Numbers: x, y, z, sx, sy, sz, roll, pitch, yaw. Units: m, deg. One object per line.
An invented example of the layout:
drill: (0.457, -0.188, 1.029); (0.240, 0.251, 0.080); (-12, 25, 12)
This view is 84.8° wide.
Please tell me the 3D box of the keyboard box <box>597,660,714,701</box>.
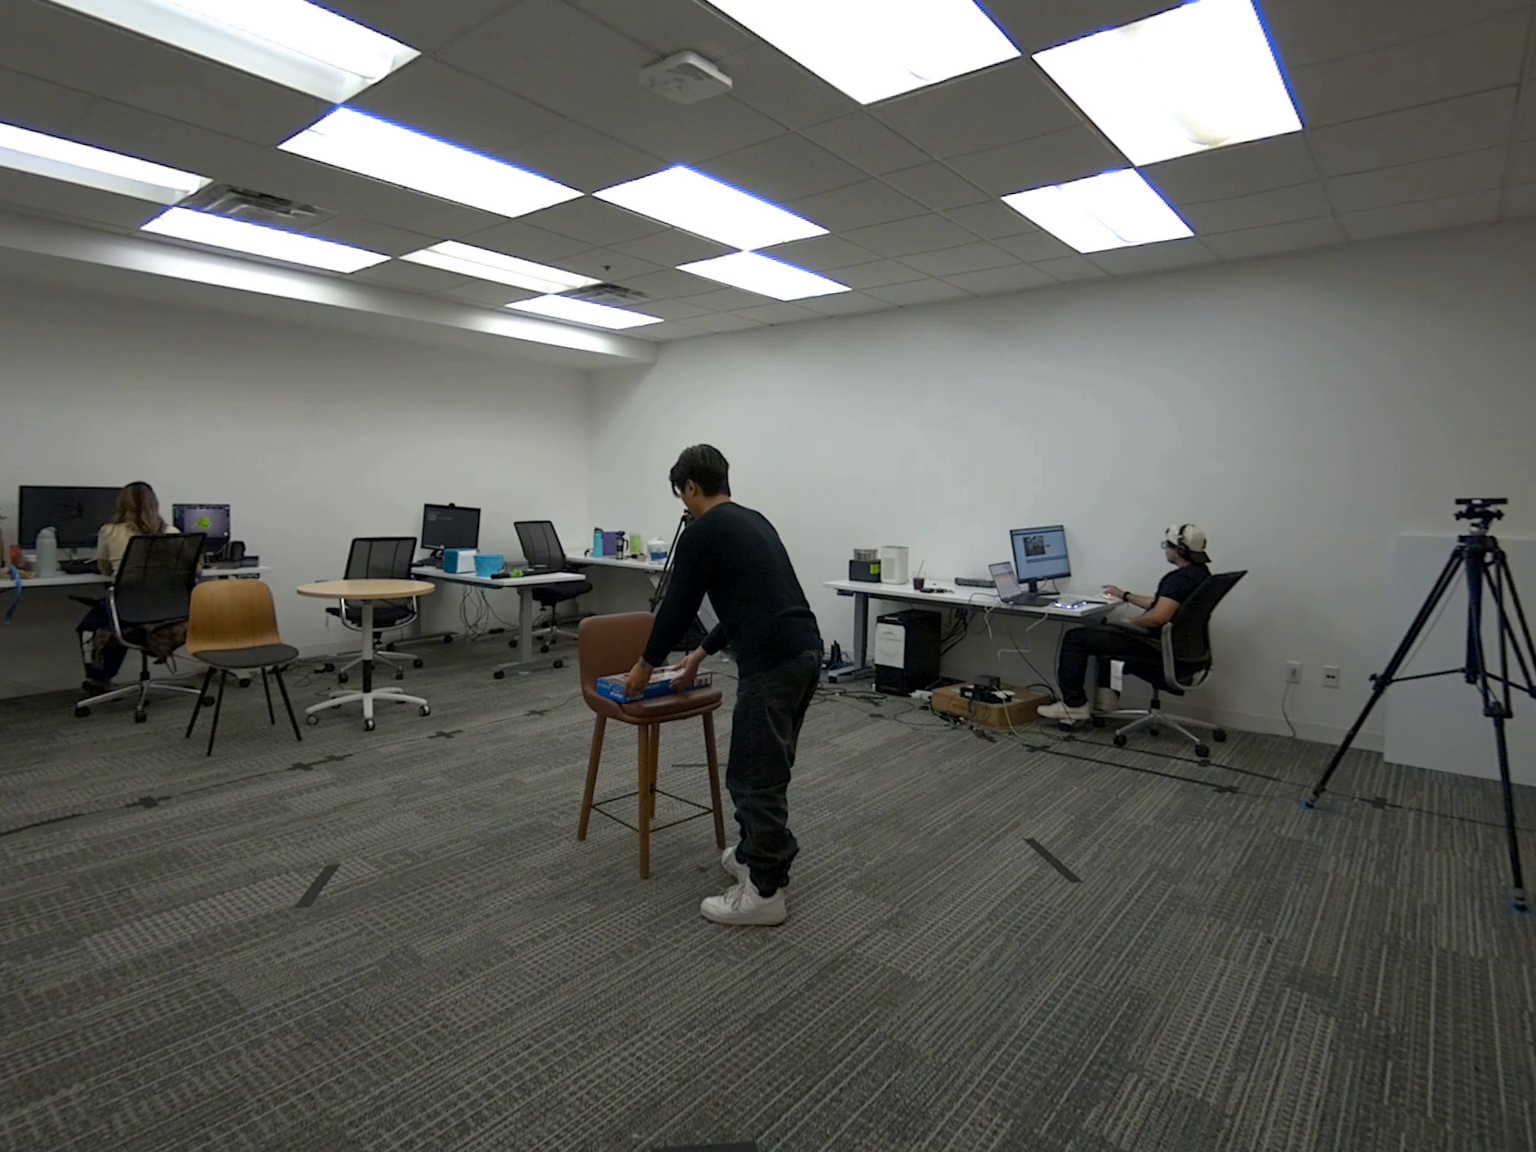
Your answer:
keyboard box: (-0.434, 0.400, 3.273); (0.182, 0.059, 0.424); (7, 8, 43)
